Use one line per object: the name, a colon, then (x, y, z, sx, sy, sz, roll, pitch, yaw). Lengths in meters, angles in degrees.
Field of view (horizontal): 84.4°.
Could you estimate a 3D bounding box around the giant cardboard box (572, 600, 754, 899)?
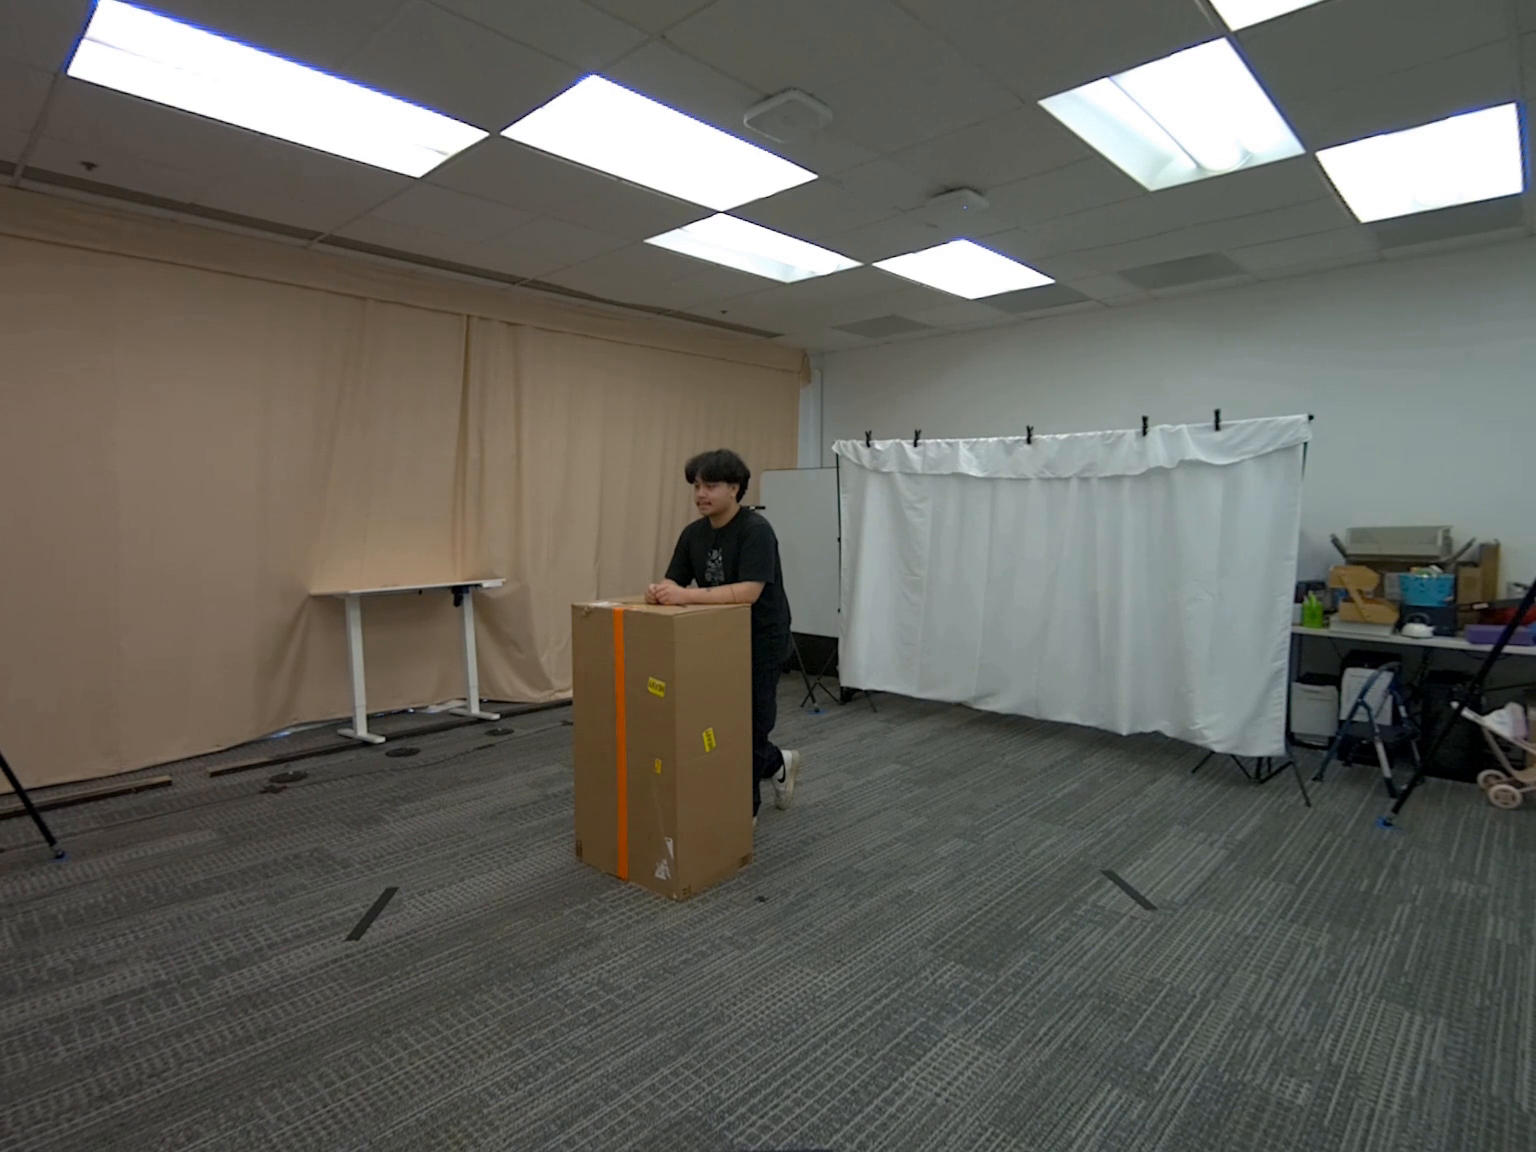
giant cardboard box: (-0.419, 0.613, 3.282, 0.603, 1.025, 0.433, 2, 4, 41)
